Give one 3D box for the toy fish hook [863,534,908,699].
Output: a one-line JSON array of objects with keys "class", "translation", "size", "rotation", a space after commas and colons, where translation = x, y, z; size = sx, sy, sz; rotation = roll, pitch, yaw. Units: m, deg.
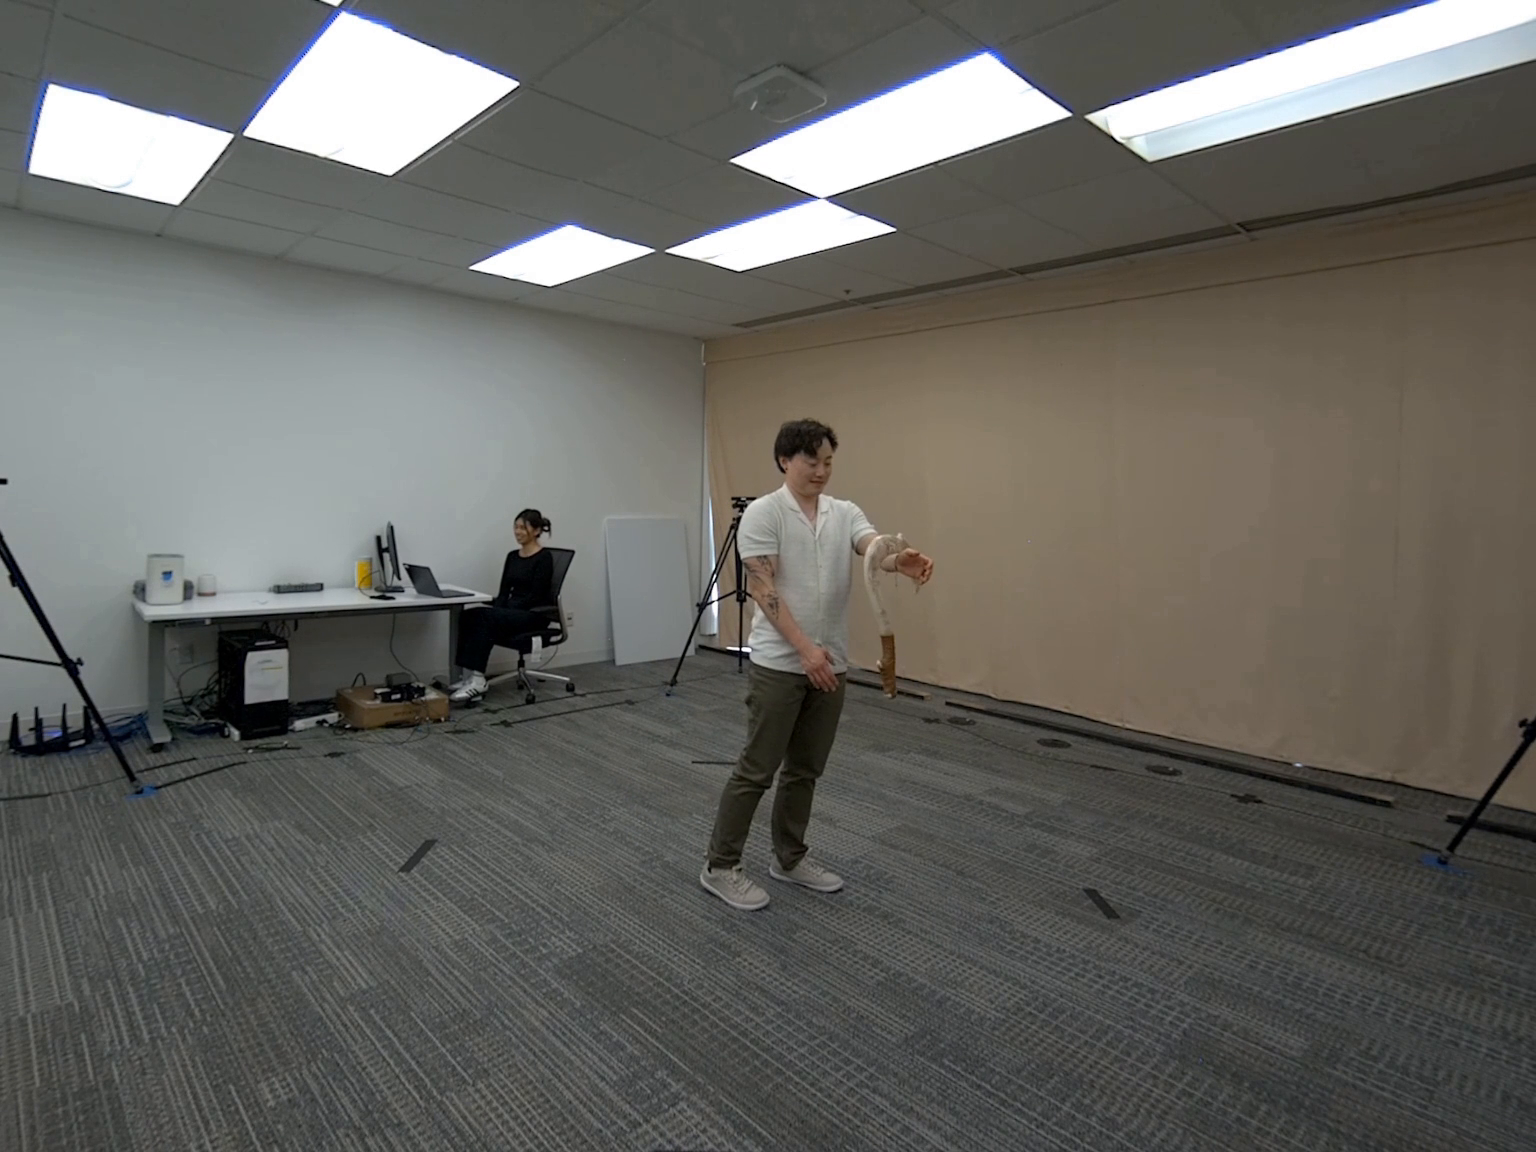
[{"class": "toy fish hook", "translation": [0.397, 0.127, 2.640], "size": [0.220, 0.506, 0.049], "rotation": [-4, 2, -27]}]
